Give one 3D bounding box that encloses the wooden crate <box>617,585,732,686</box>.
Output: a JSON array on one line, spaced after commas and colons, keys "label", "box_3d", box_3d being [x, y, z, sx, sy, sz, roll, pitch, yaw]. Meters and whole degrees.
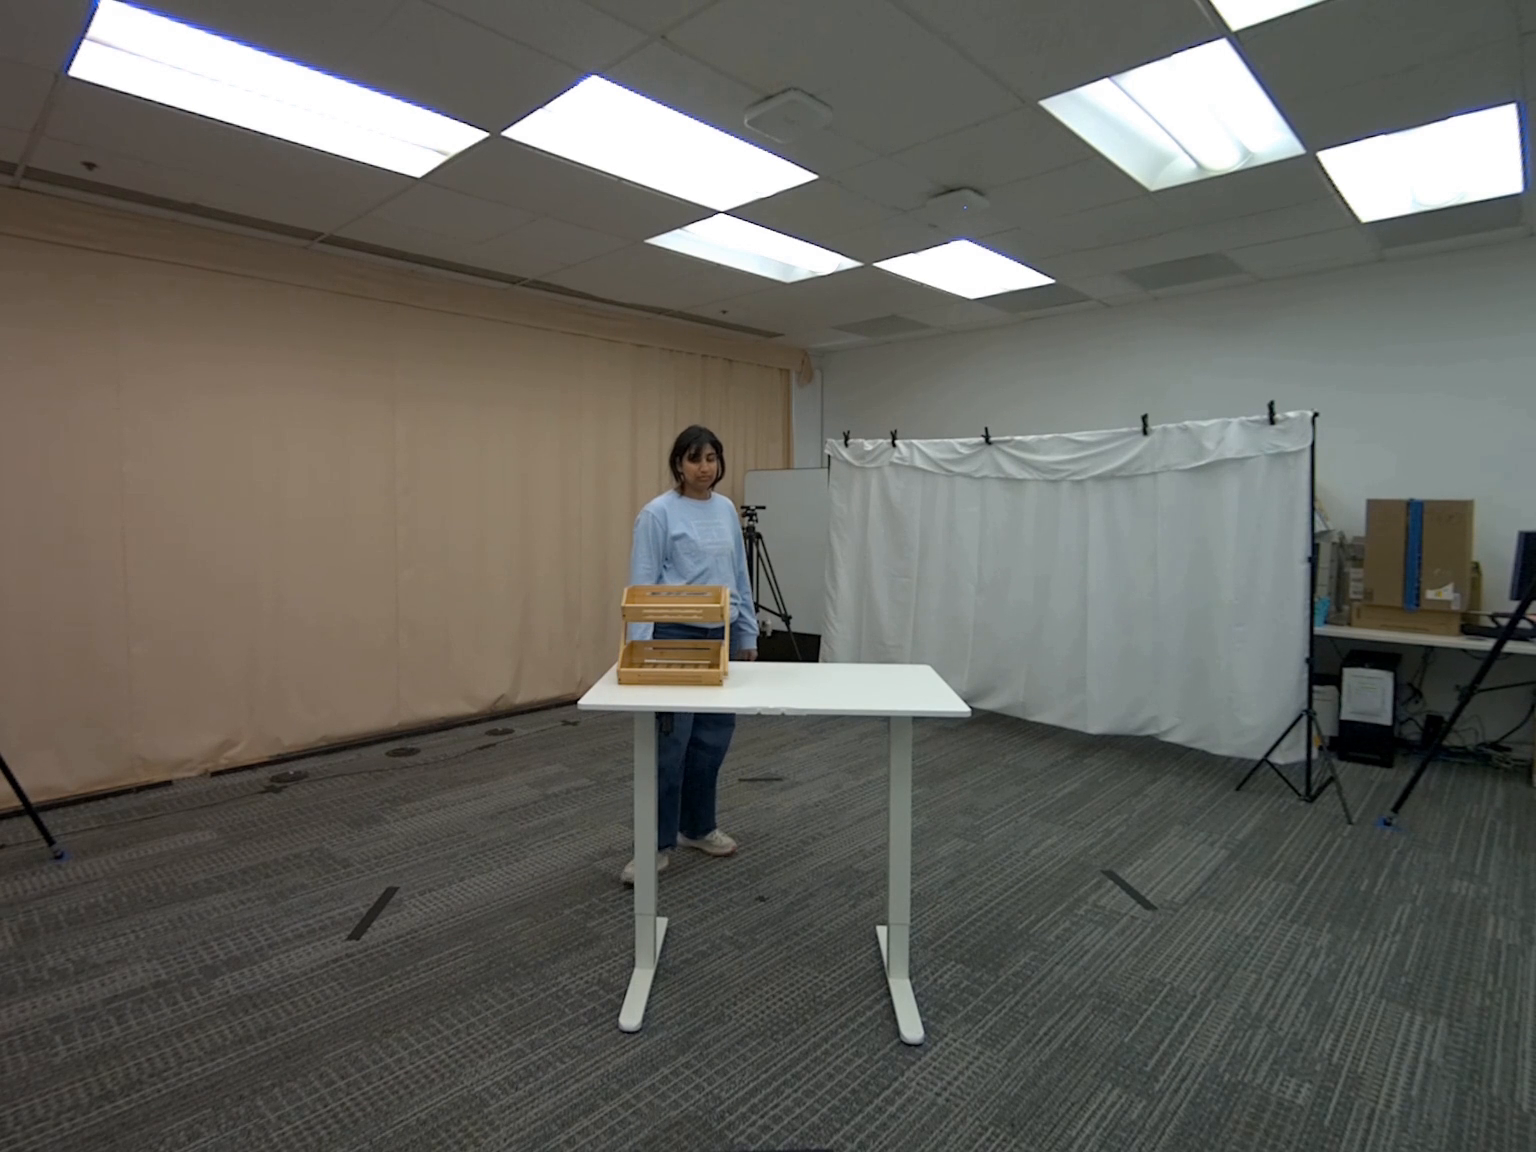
[{"label": "wooden crate", "box_3d": [-0.275, 0.167, 2.514, 0.325, 0.273, 0.302, 0, 3, 1]}]
